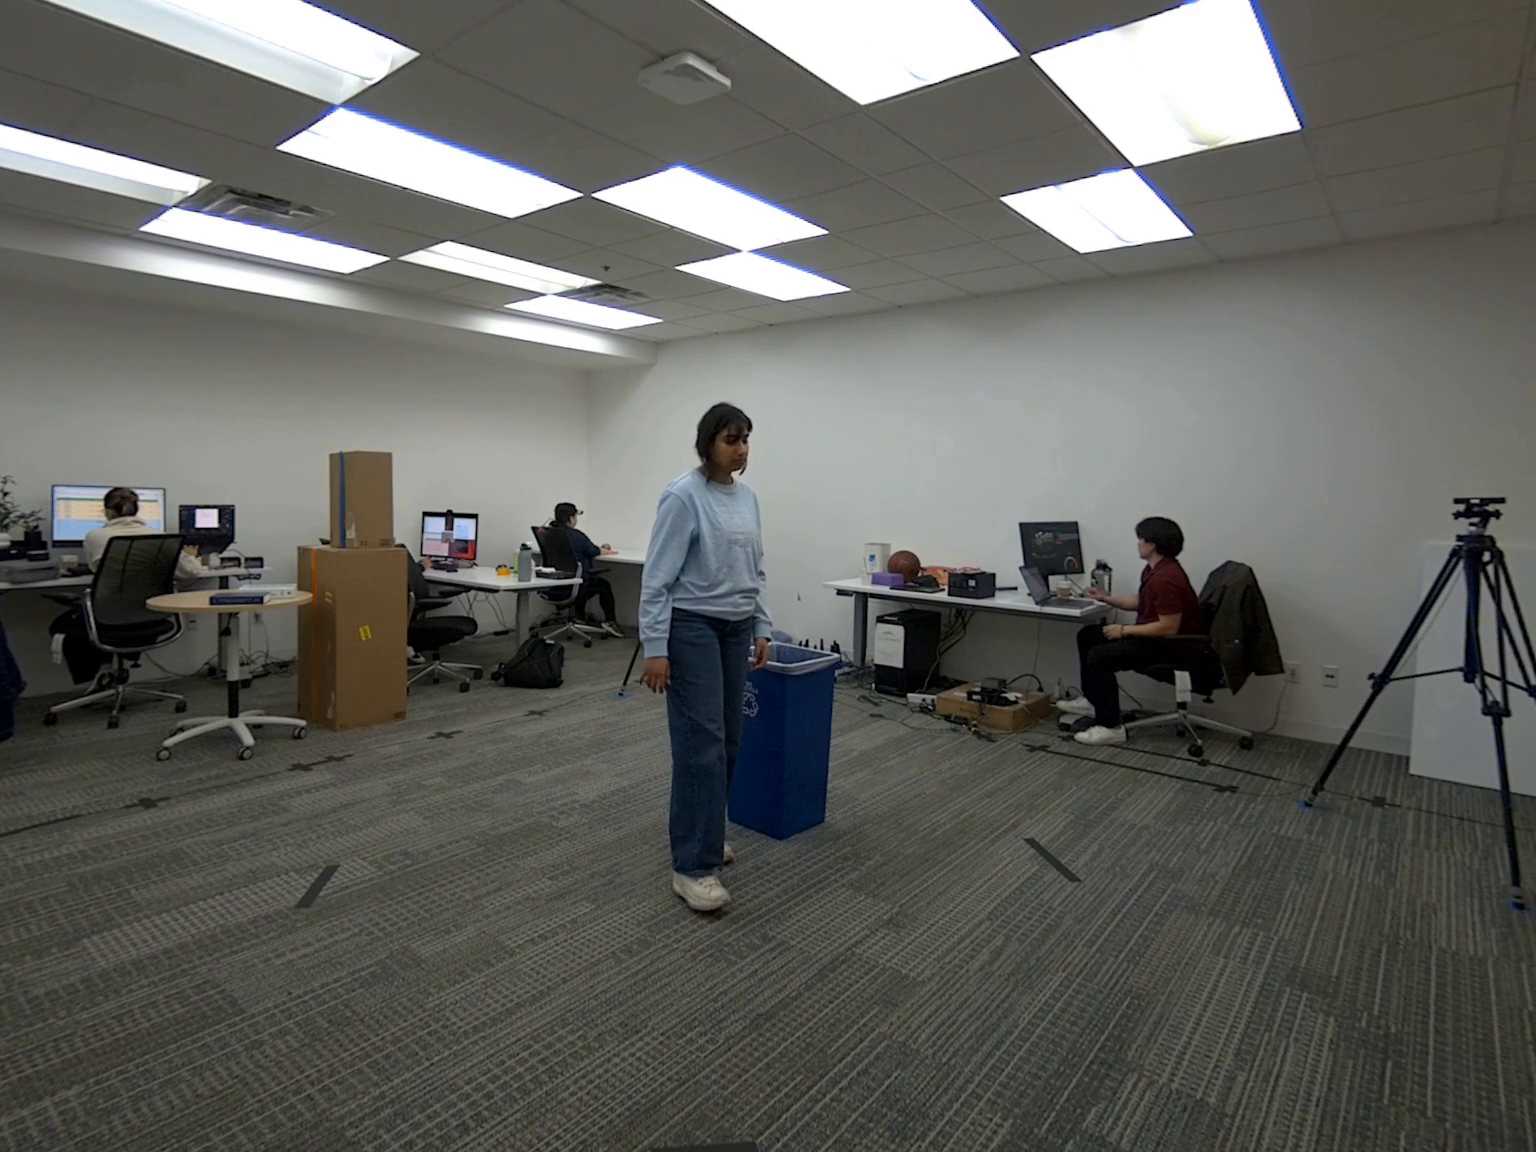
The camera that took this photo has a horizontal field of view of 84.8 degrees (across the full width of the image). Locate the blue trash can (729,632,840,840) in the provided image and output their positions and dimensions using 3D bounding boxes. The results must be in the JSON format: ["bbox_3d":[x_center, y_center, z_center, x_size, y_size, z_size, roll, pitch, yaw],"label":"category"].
[{"bbox_3d":[0.045,0.674,3.567,0.387,0.711,0.367,4,4,41],"label":"blue trash can"}]
